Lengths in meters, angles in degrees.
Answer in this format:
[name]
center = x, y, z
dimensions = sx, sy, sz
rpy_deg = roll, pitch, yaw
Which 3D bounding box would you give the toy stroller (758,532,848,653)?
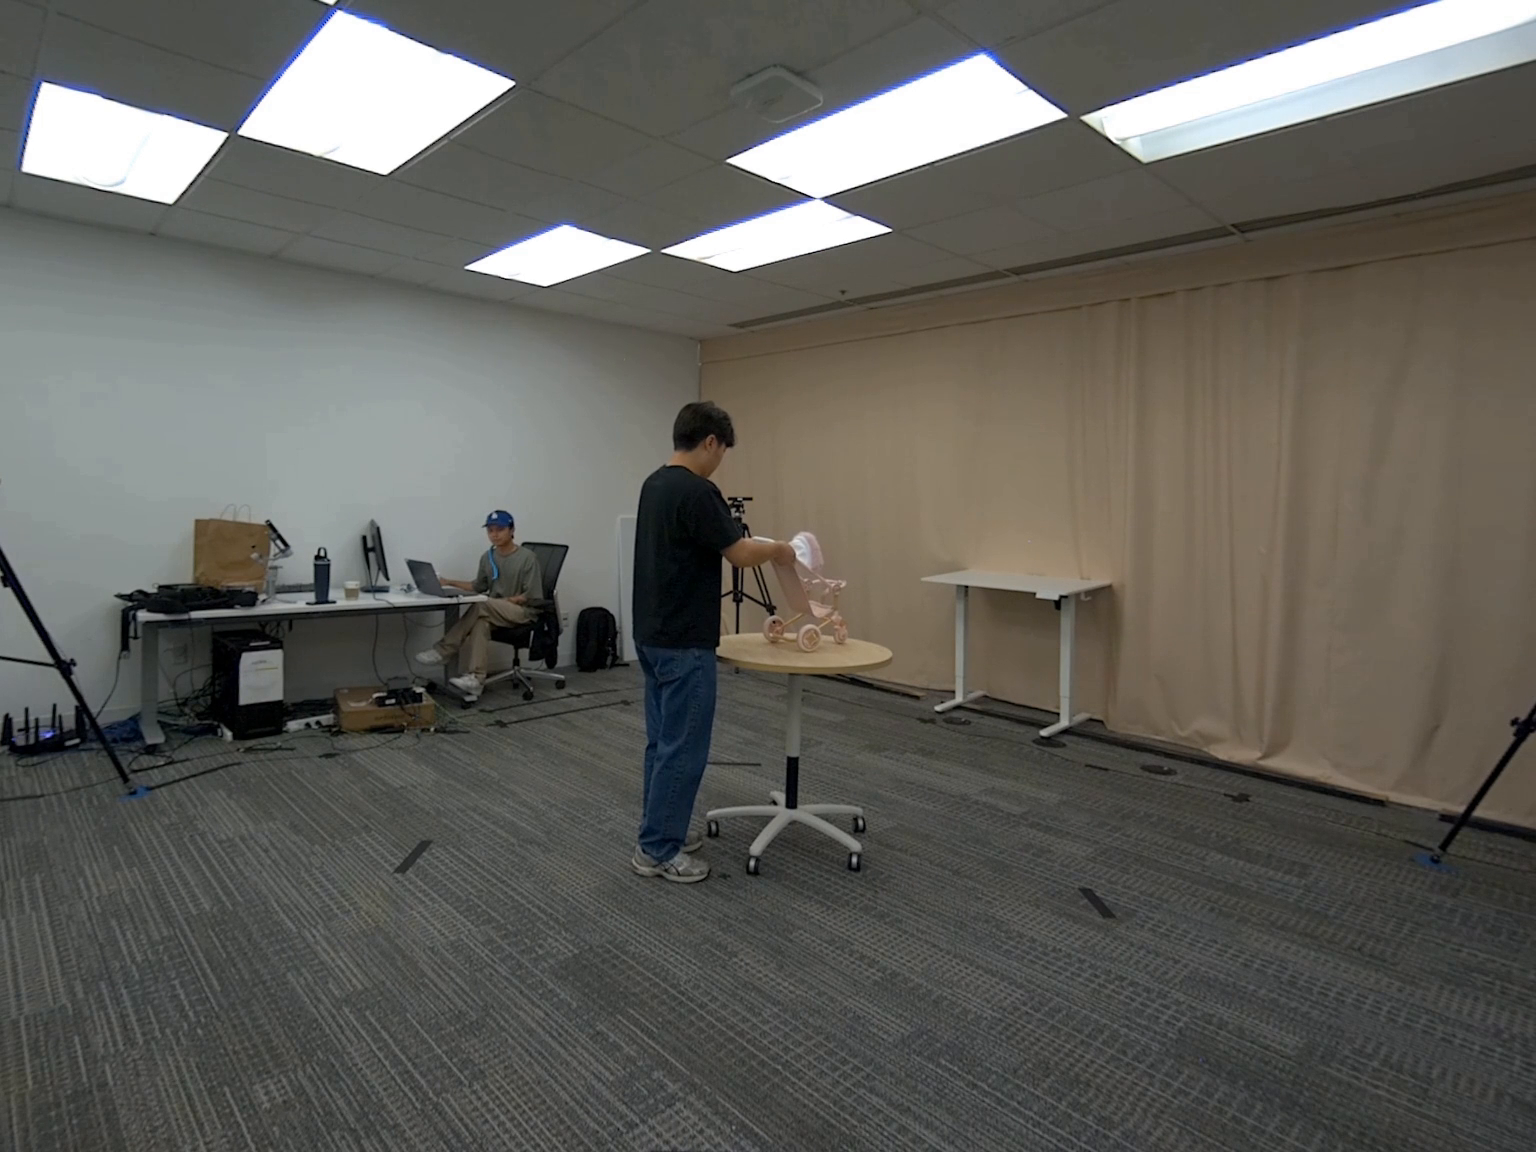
[toy stroller]
center = 0.147, 0.063, 3.435
dimensions = 0.337, 0.530, 0.287
rpy_deg = -16, 11, -25
